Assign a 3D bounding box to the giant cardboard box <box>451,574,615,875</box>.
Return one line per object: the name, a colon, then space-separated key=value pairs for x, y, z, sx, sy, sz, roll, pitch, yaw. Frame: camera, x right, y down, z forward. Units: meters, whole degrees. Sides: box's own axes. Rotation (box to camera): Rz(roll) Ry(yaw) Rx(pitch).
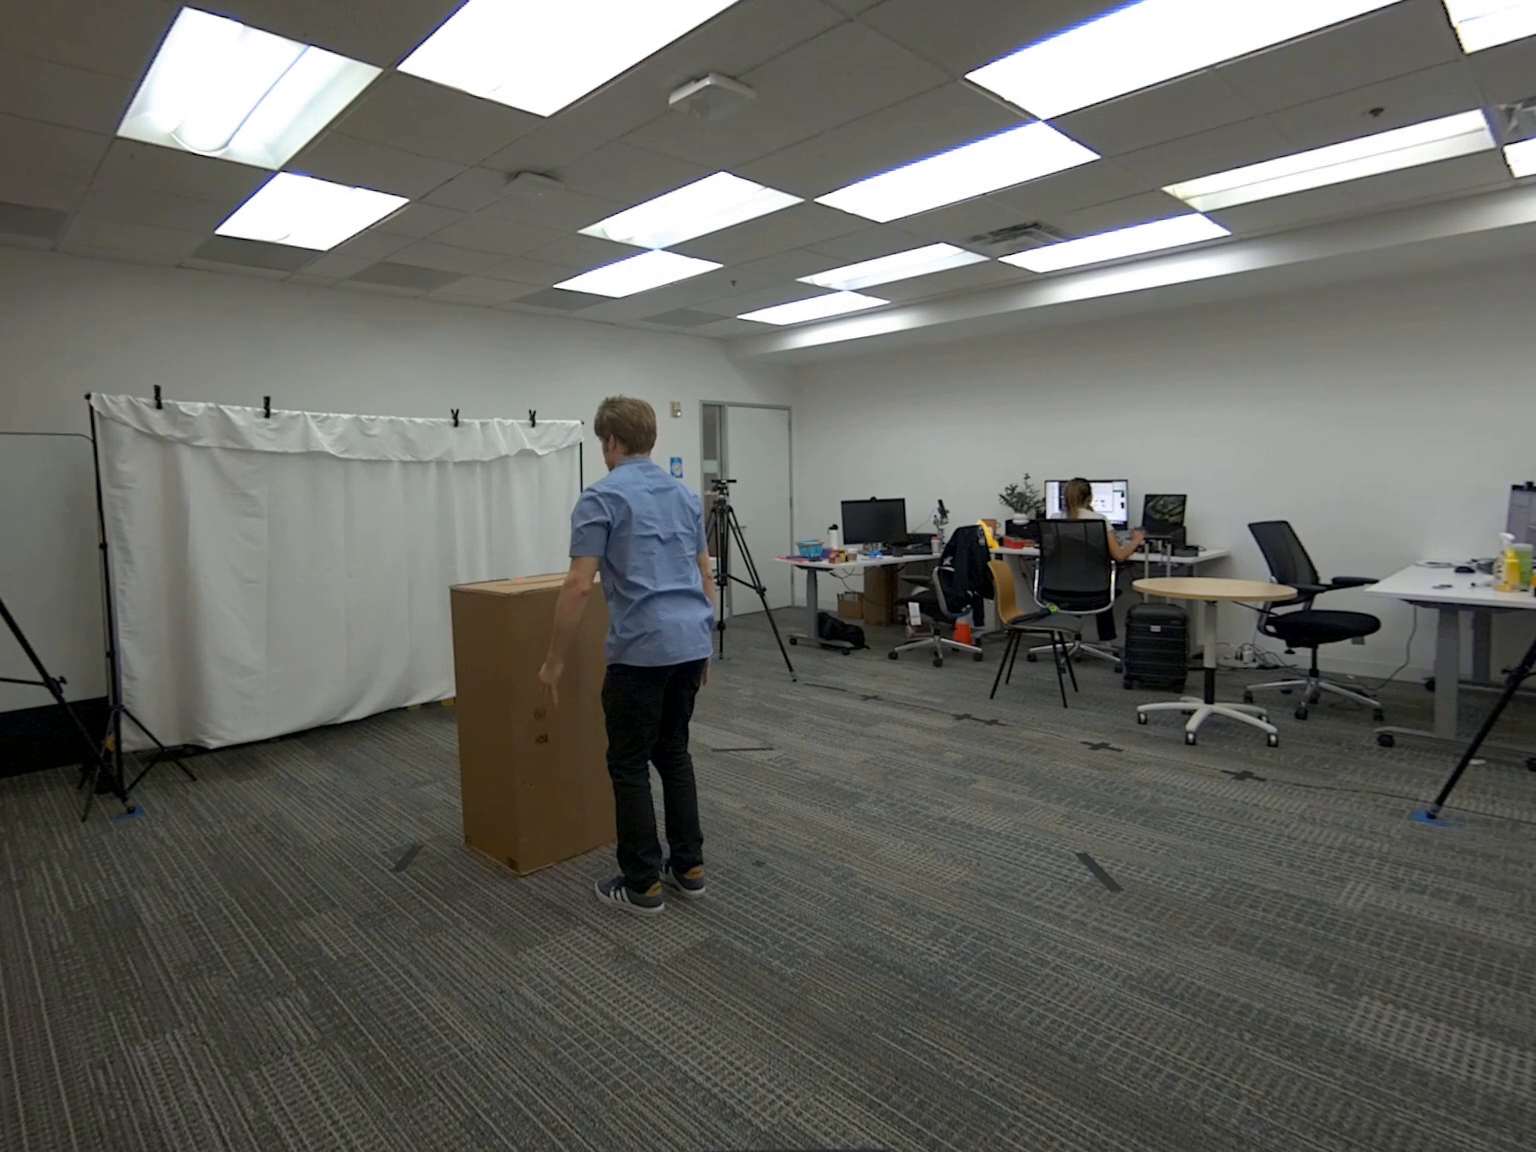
giant cardboard box: x=-0.864 y=0.529 z=3.355 sx=0.439 sy=1.022 sz=0.562 roll=3 pitch=6 yaw=45
